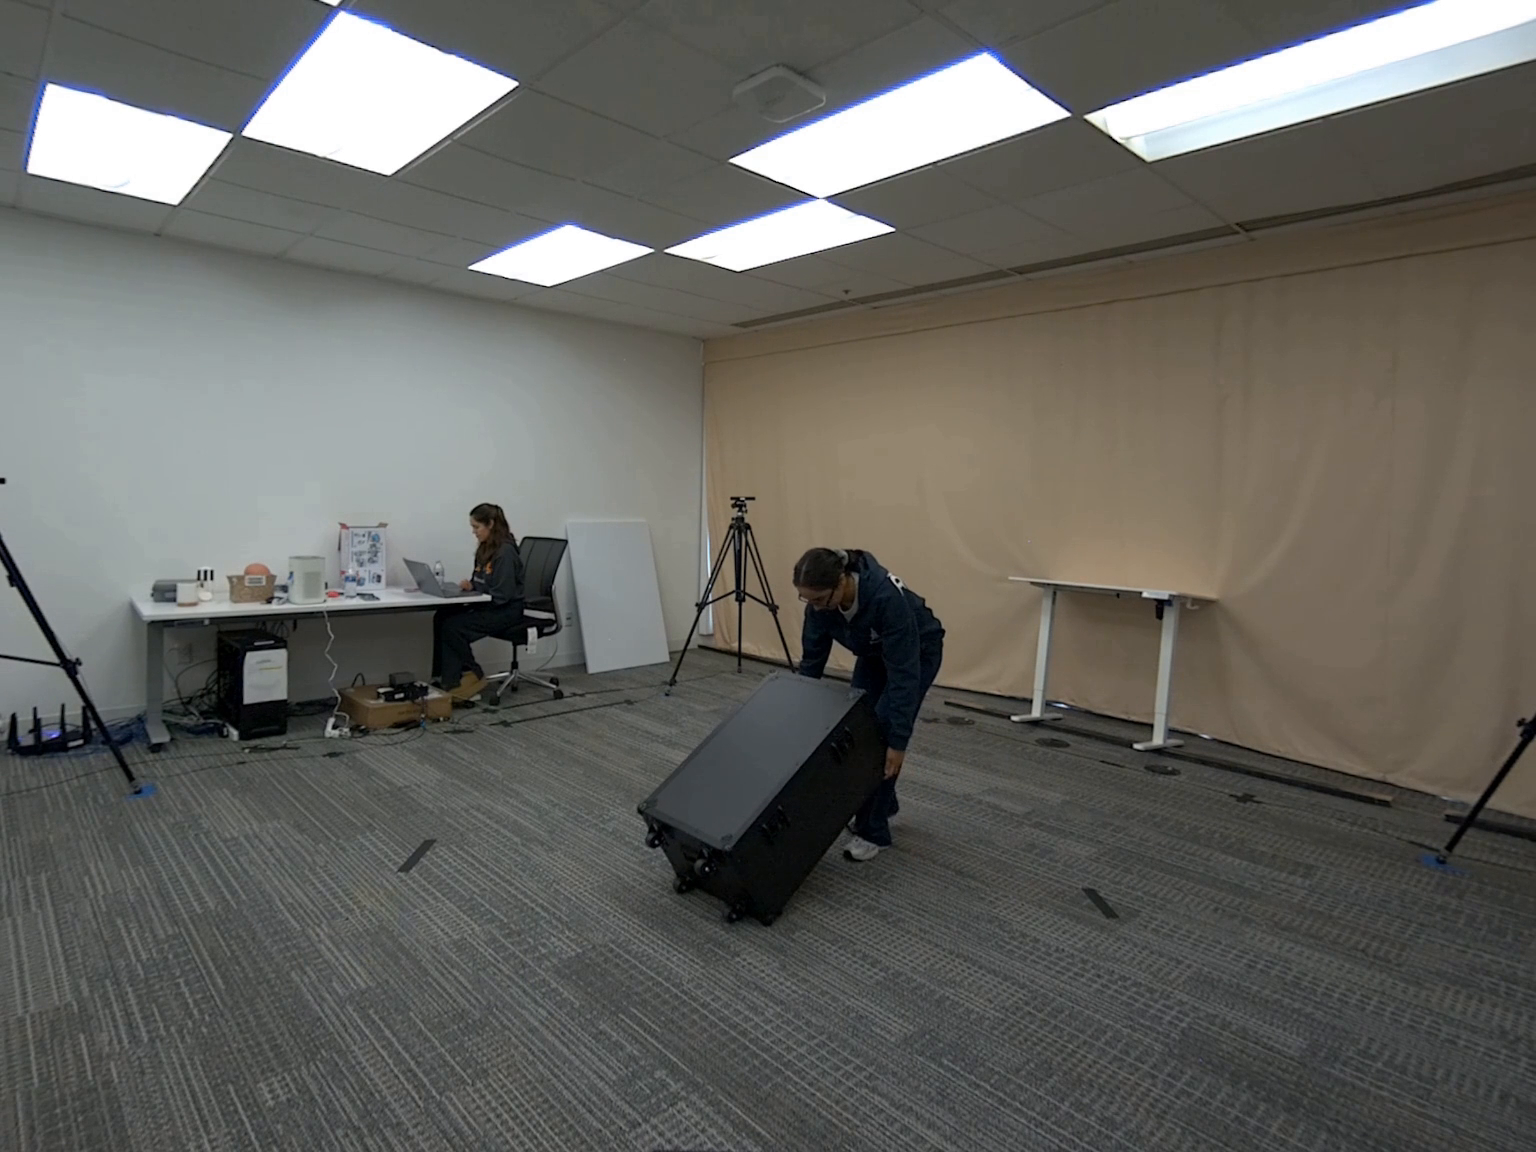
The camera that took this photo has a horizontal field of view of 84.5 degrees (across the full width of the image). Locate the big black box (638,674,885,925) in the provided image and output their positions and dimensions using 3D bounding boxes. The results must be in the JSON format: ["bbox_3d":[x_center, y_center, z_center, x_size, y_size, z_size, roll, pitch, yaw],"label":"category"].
[{"bbox_3d":[-0.016,0.784,3.039,0.535,0.387,0.859,6,39,46],"label":"big black box"}]
